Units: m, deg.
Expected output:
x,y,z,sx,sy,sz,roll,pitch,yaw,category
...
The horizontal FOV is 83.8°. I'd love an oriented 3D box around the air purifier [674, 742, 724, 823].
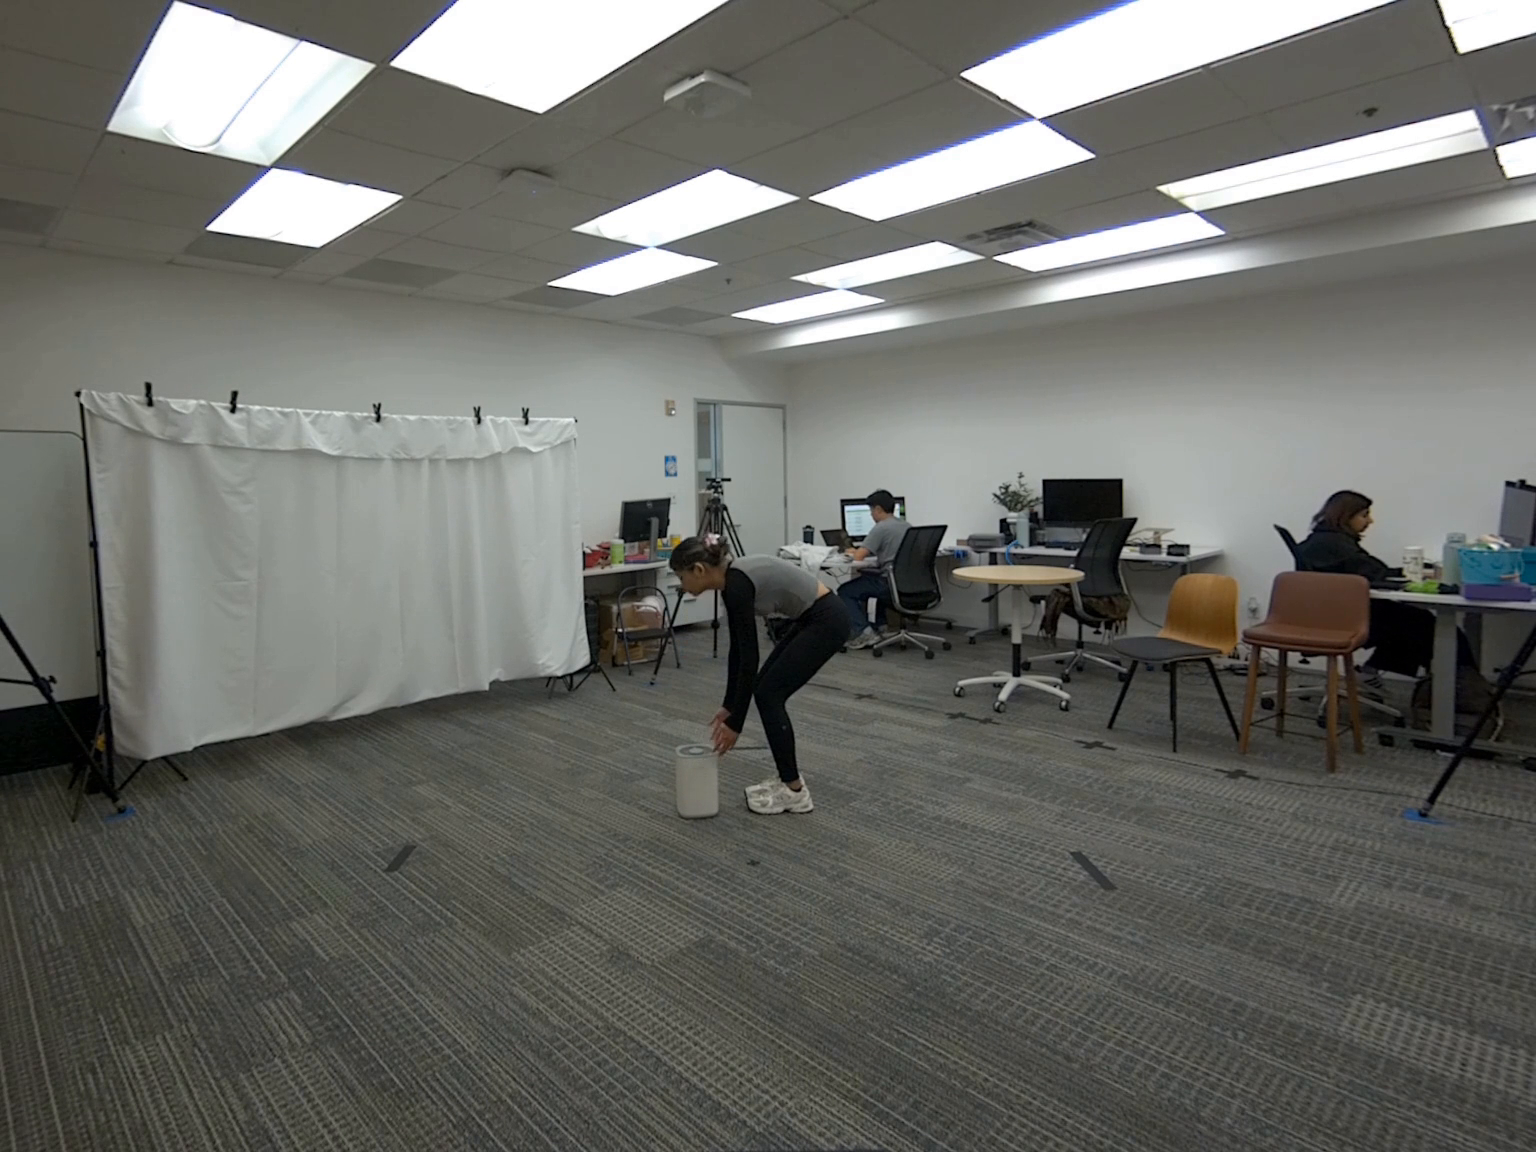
x,y,z,sx,sy,sz,roll,pitch,yaw,category
-0.293,0.856,3.582,0.169,0.264,0.174,-3,4,-11,air purifier
